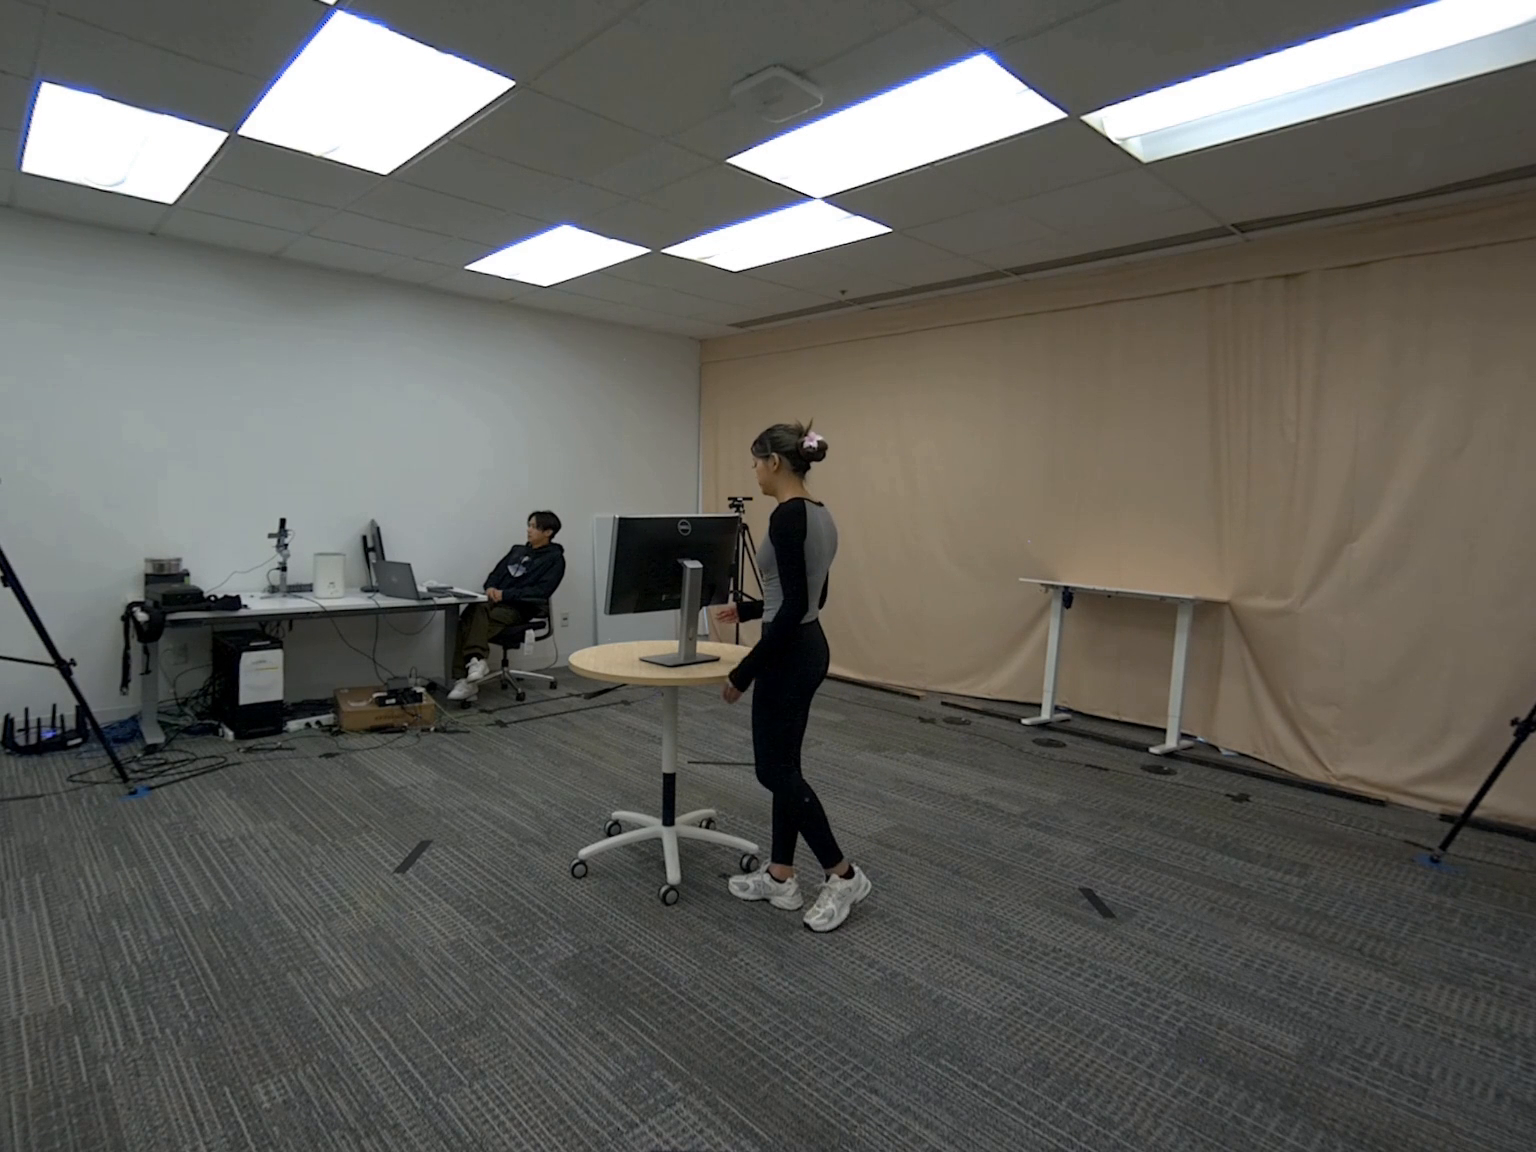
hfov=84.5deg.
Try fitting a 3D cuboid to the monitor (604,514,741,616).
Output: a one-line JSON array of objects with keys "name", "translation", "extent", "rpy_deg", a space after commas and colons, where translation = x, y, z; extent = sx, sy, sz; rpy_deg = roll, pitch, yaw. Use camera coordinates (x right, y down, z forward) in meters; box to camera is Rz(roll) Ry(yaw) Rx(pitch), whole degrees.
[{"name": "monitor", "translation": [-0.330, 0.050, 3.110], "extent": [0.527, 0.522, 0.192], "rpy_deg": [-3, 4, -44]}]
